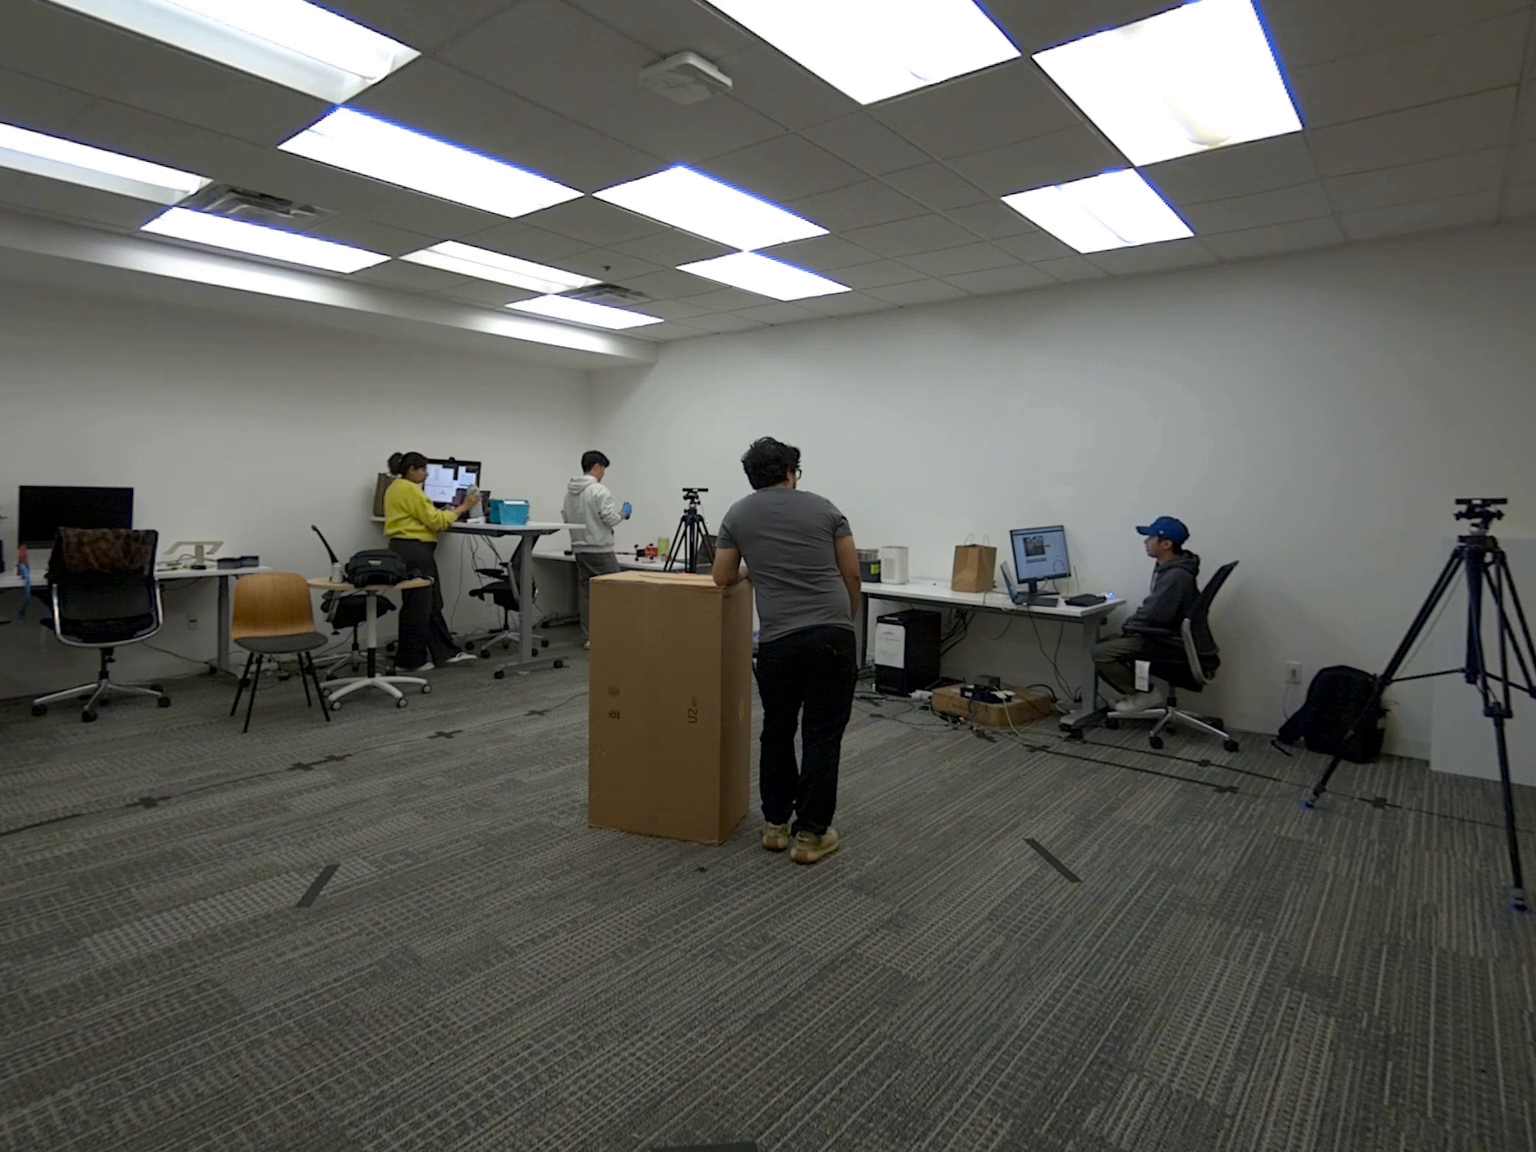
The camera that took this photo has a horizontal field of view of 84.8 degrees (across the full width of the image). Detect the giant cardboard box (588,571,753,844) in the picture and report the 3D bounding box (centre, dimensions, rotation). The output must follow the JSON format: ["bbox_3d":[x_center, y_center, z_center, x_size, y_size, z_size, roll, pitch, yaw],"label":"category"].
[{"bbox_3d":[-0.418,0.513,3.587,0.589,1.023,0.419,2,3,19],"label":"giant cardboard box"}]
